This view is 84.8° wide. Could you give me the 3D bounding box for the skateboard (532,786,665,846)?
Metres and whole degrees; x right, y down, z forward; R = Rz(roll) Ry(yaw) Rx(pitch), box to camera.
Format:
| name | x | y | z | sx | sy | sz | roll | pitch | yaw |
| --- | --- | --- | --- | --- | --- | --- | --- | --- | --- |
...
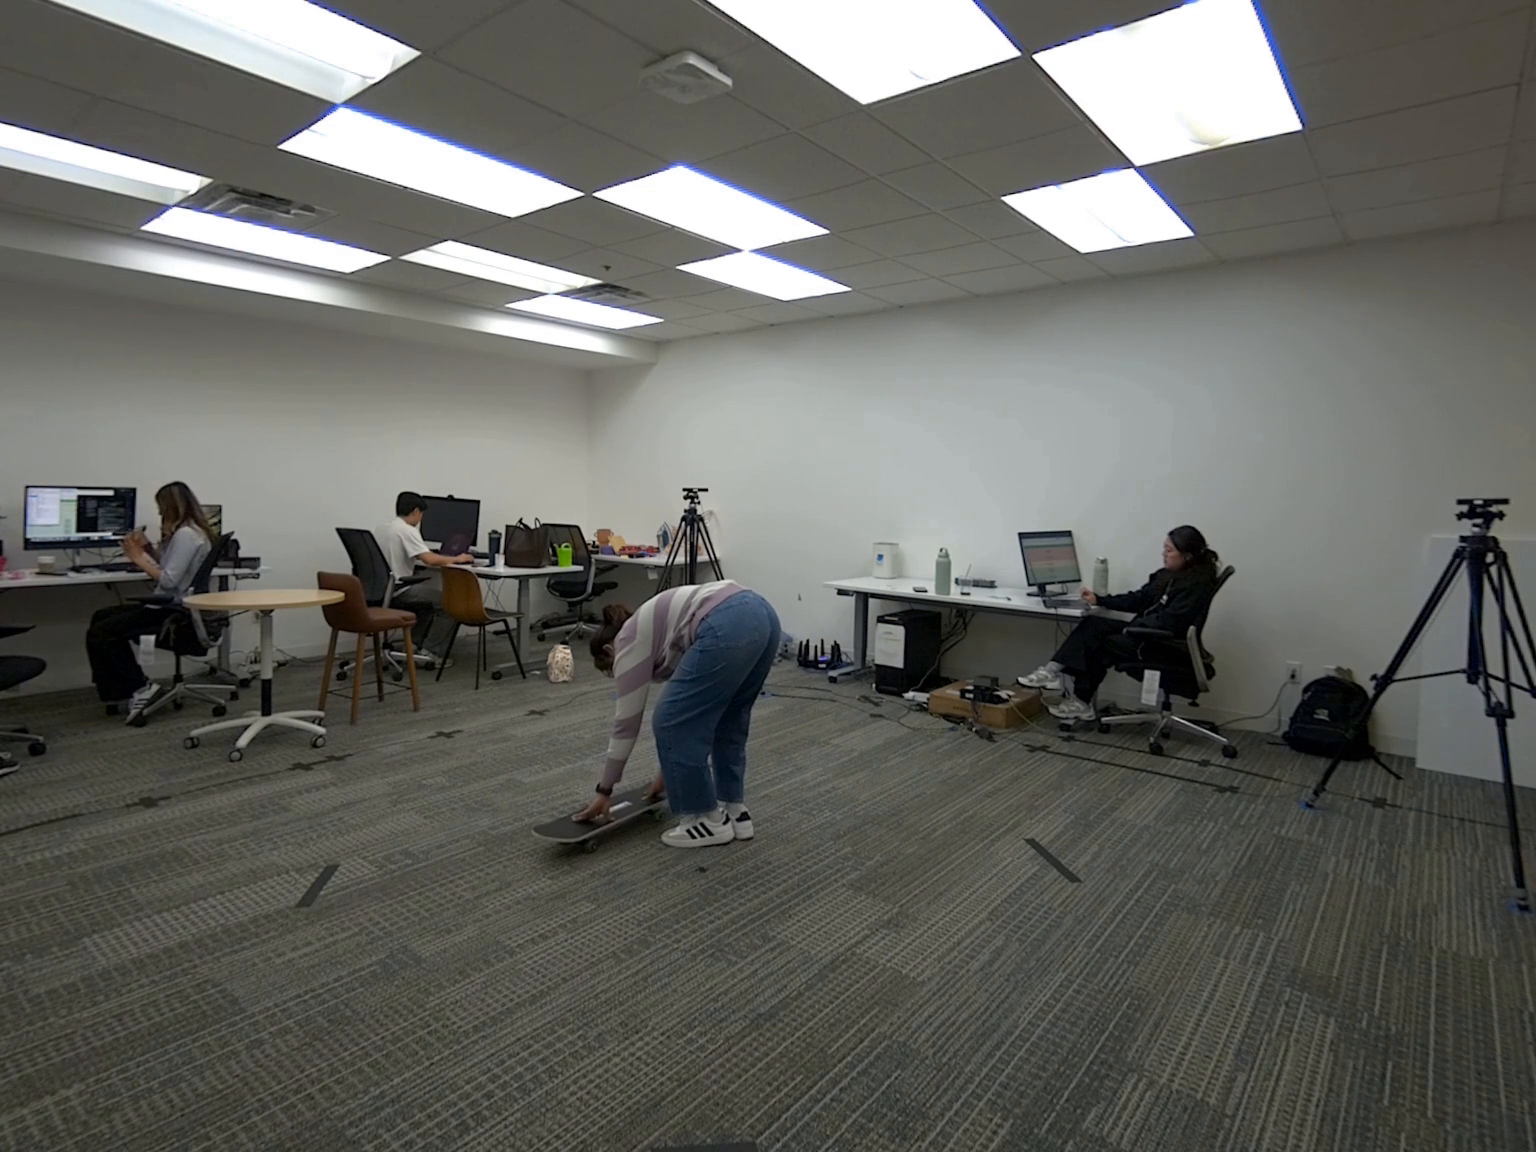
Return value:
| name | x | y | z | sx | sy | sz | roll | pitch | yaw |
| --- | --- | --- | --- | --- | --- | --- | --- | --- | --- |
| skateboard | -0.640 | 0.975 | 3.442 | 0.200 | 0.110 | 0.764 | 5 | 7 | 34 |
